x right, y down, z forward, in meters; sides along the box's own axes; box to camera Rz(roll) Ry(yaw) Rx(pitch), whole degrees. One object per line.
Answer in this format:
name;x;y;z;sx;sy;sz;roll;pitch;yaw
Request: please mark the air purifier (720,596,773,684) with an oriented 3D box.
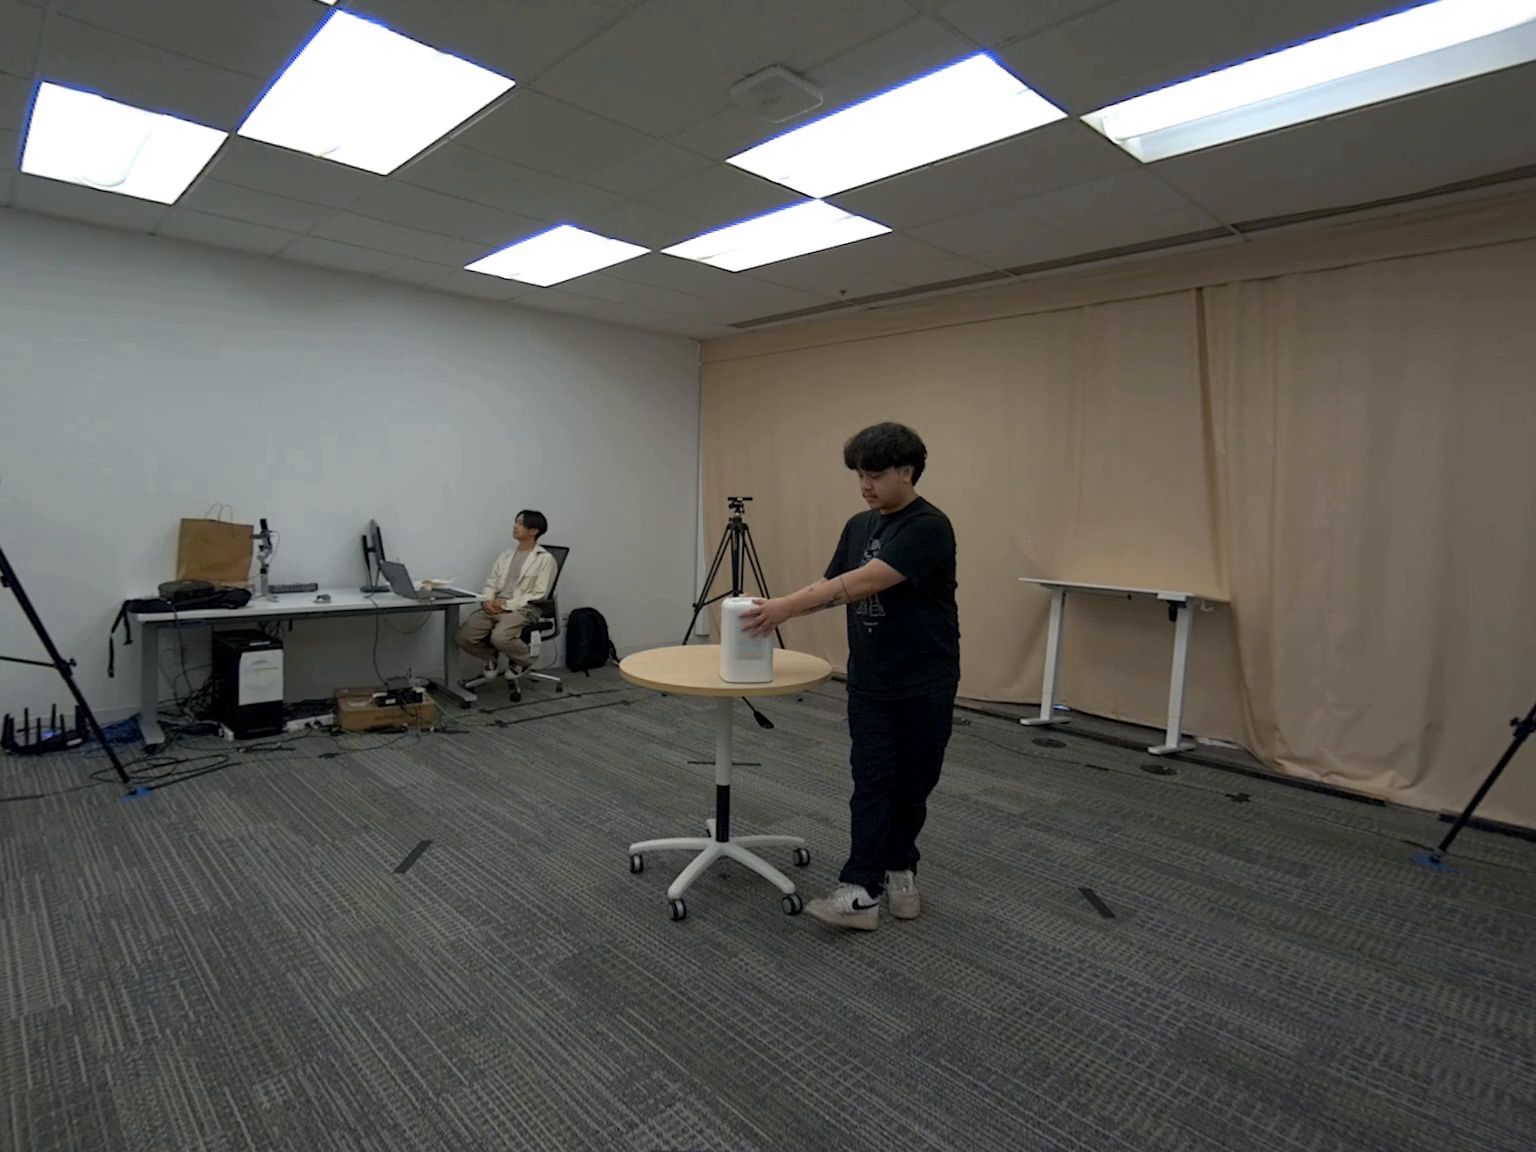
air purifier;-0.075;0.211;2.813;0.171;0.264;0.172;0;7;-5
